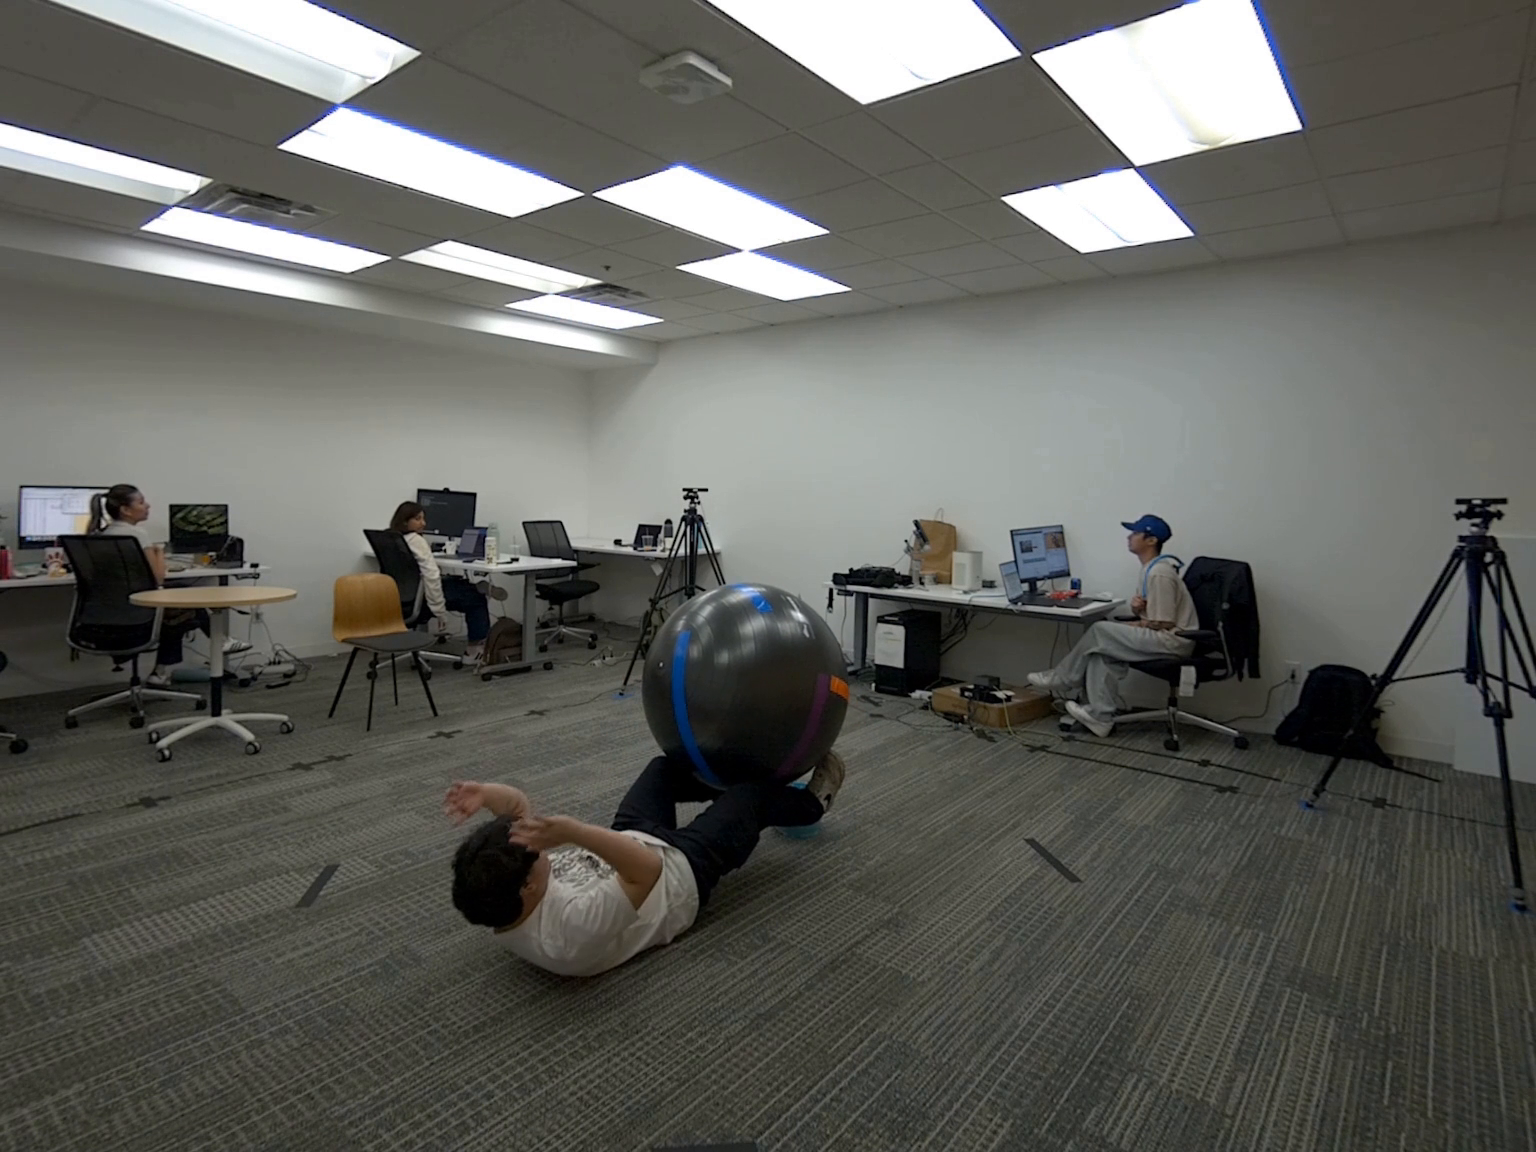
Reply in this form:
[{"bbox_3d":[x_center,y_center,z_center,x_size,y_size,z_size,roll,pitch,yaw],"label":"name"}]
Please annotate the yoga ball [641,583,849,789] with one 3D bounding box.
[{"bbox_3d":[-0.093,0.400,3.127,0.757,0.755,0.762,1,4,-2],"label":"yoga ball"}]
